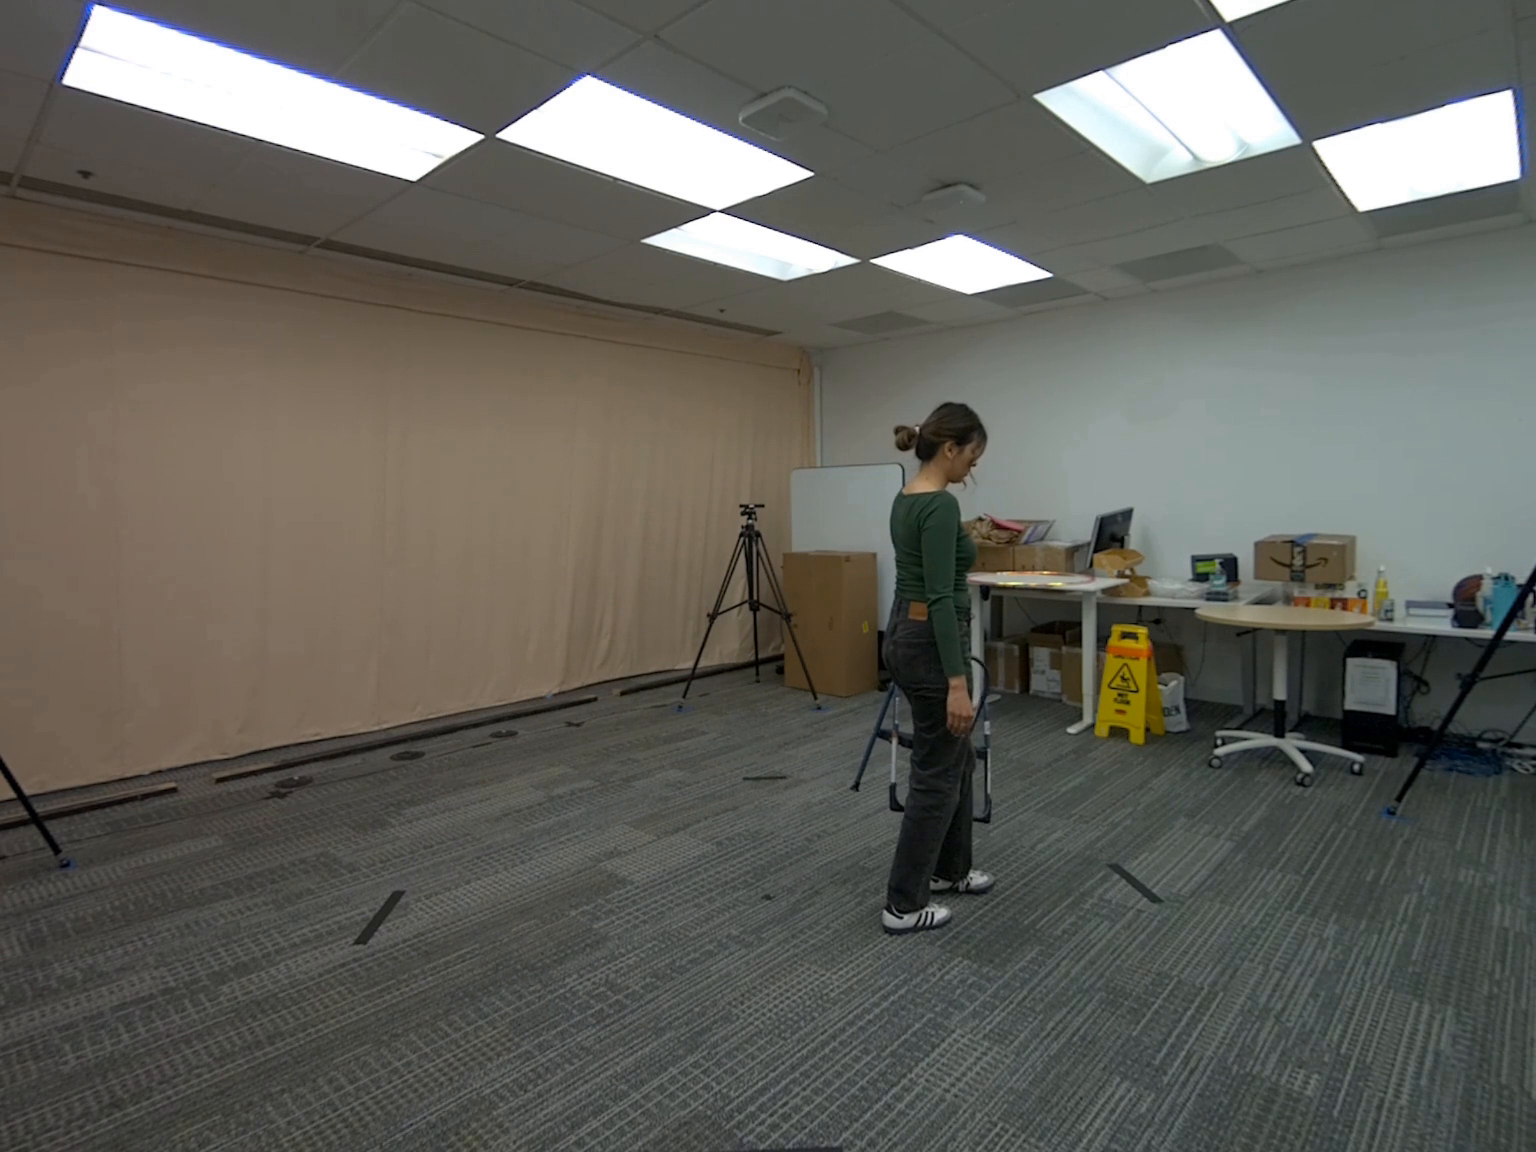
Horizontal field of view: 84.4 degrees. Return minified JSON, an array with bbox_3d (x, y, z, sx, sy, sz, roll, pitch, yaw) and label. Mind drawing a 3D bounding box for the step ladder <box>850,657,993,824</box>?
[{"bbox_3d":[0.640,0.588,3.243,0.422,0.607,0.355,12,-5,-18],"label":"step ladder"}]
